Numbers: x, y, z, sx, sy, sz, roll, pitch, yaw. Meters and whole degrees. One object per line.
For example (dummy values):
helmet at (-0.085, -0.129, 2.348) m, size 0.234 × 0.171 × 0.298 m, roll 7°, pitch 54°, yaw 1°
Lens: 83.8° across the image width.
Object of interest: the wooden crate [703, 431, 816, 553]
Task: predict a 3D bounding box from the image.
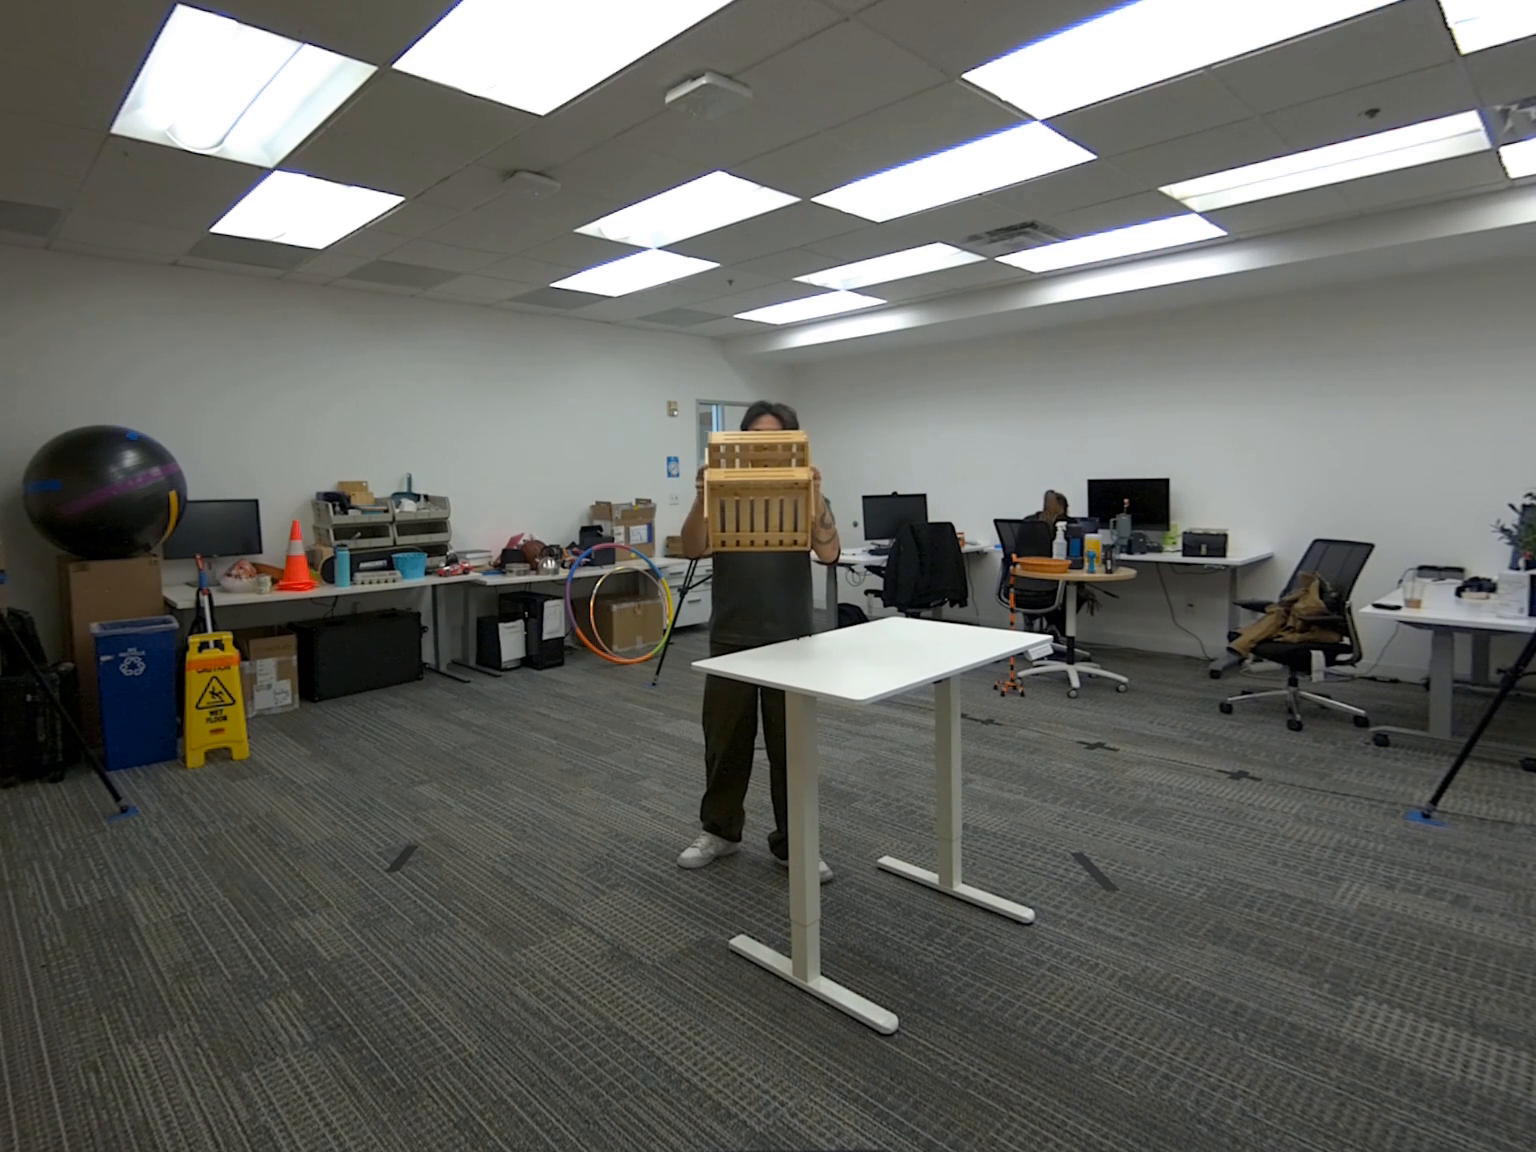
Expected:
wooden crate at (-0.029, -0.249, 2.600) m, size 0.325 × 0.295 × 0.279 m, roll -1°, pitch 29°, yaw 2°
